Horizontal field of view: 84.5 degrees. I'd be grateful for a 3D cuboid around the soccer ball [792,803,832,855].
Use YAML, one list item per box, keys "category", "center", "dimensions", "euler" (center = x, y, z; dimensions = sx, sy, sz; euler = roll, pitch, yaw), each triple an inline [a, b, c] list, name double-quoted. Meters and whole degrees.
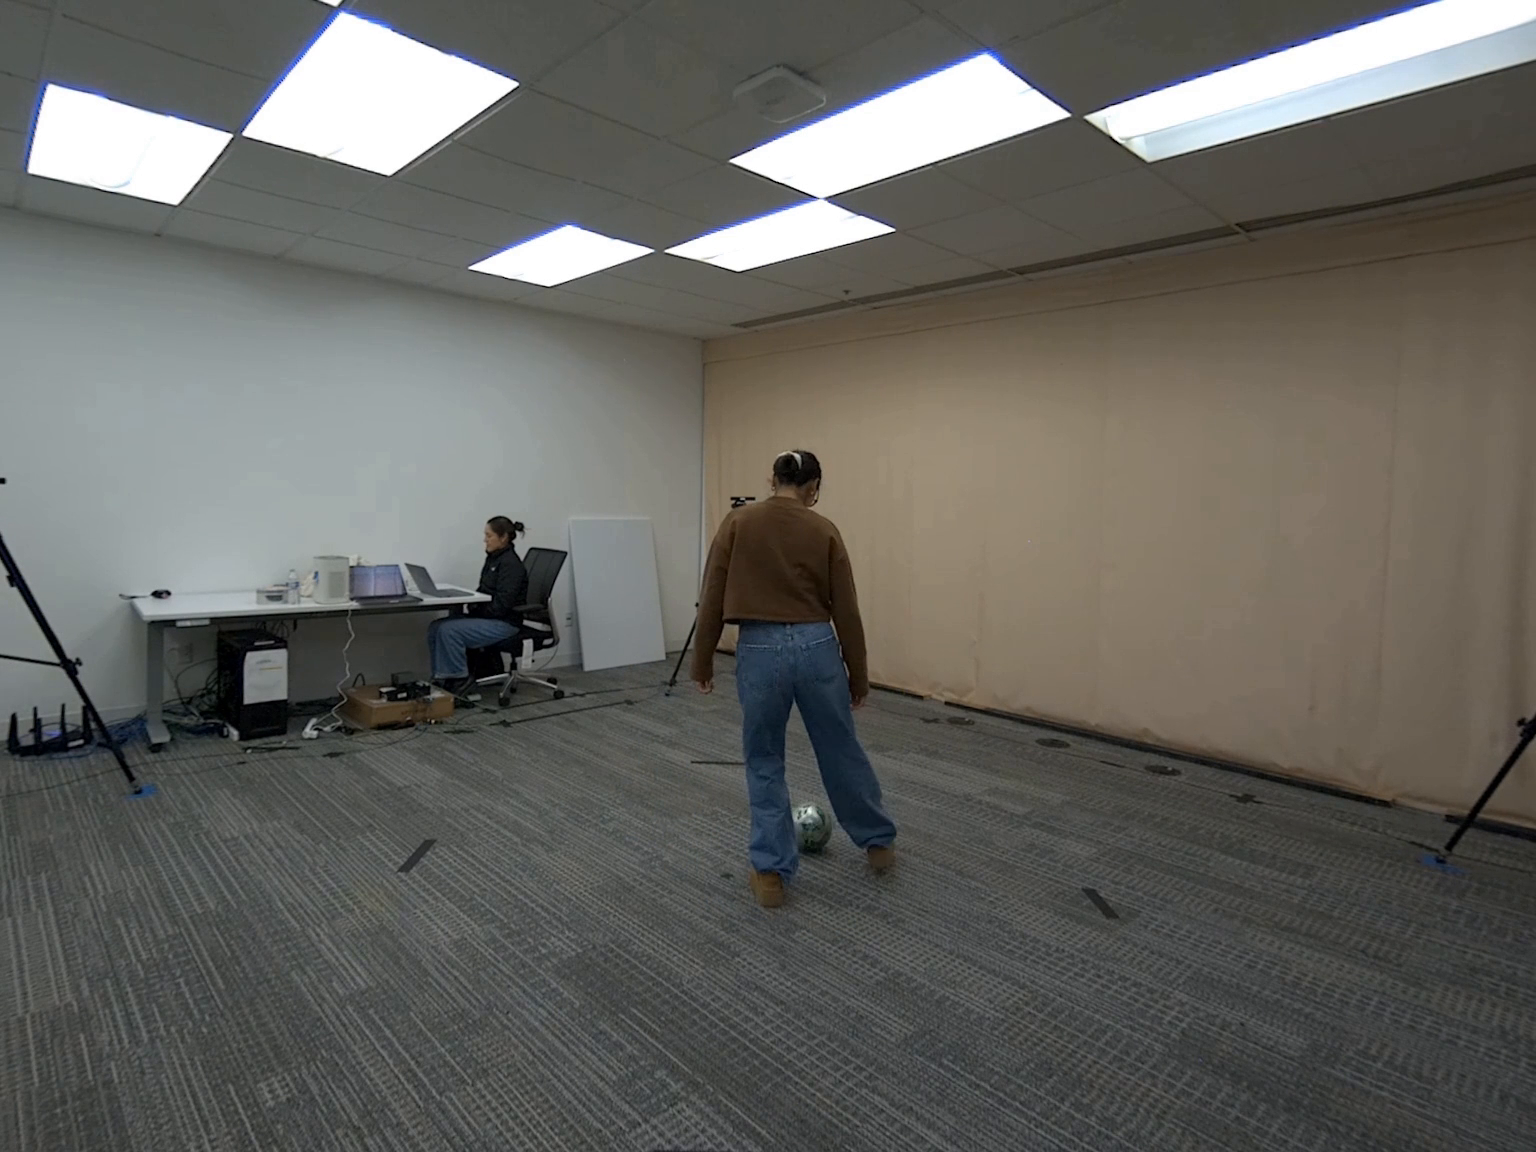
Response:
- category: "soccer ball"
  center: [0.150, 0.995, 3.359]
  dimensions: [0.187, 0.187, 0.188]
  euler: [1, 4, -1]
